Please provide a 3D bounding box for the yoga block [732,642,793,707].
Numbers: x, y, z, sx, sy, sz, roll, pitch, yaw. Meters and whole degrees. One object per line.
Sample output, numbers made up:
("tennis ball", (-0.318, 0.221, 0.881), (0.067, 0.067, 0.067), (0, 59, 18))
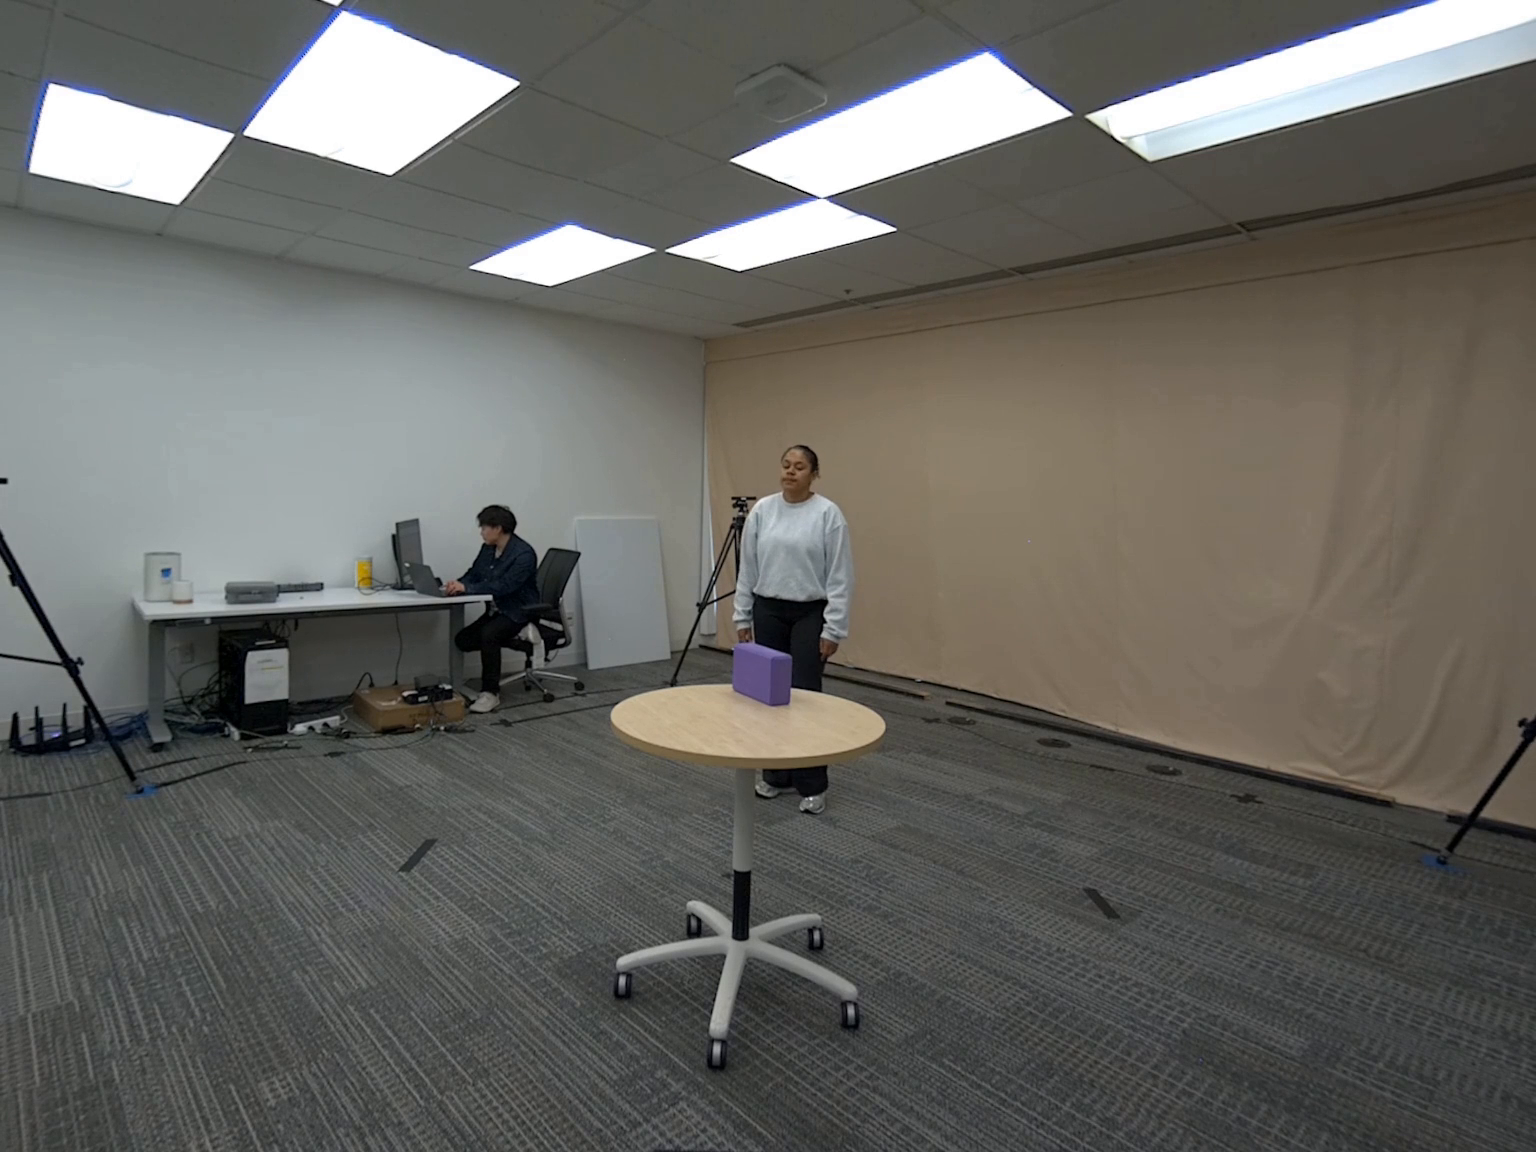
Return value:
("yoga block", (-0.030, 0.301, 2.578), (0.075, 0.148, 0.235), (0, 5, -32))
